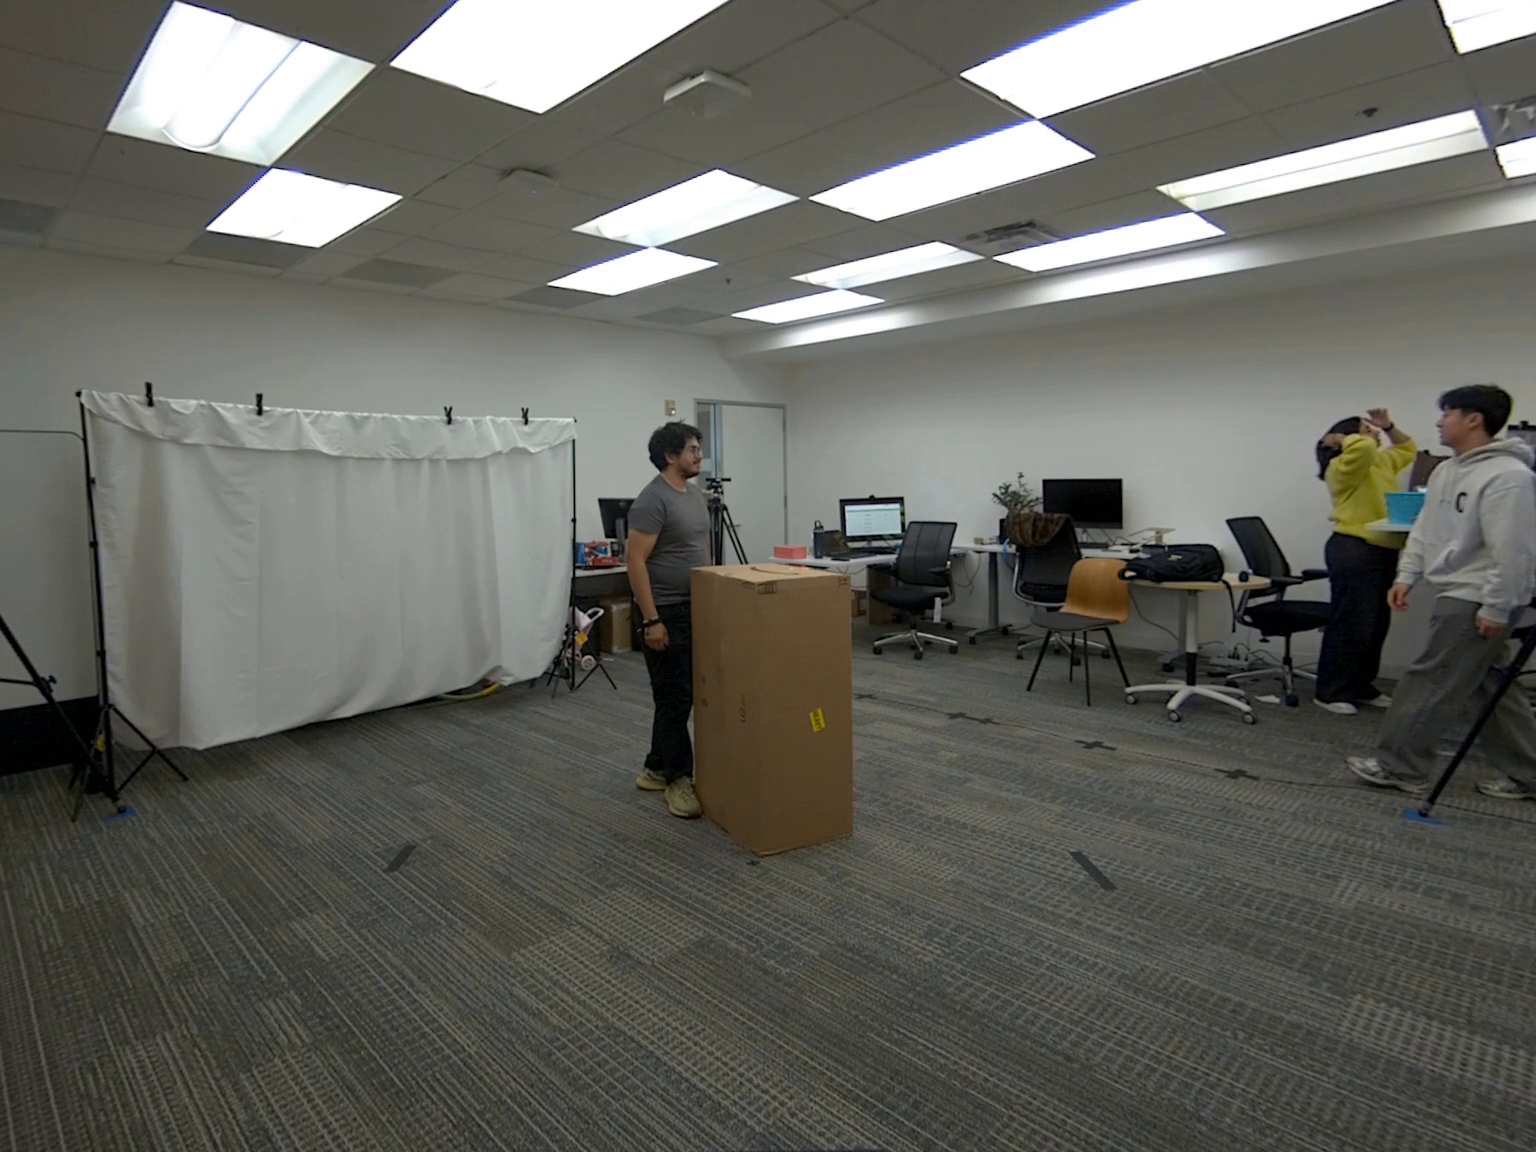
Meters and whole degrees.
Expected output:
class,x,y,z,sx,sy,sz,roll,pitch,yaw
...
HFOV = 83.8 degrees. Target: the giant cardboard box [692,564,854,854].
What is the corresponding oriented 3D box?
class,x,y,z,sx,sy,sz,roll,pitch,yaw
giant cardboard box,0.008,0.494,3.460,0.437,1.023,0.599,-4,5,-29
